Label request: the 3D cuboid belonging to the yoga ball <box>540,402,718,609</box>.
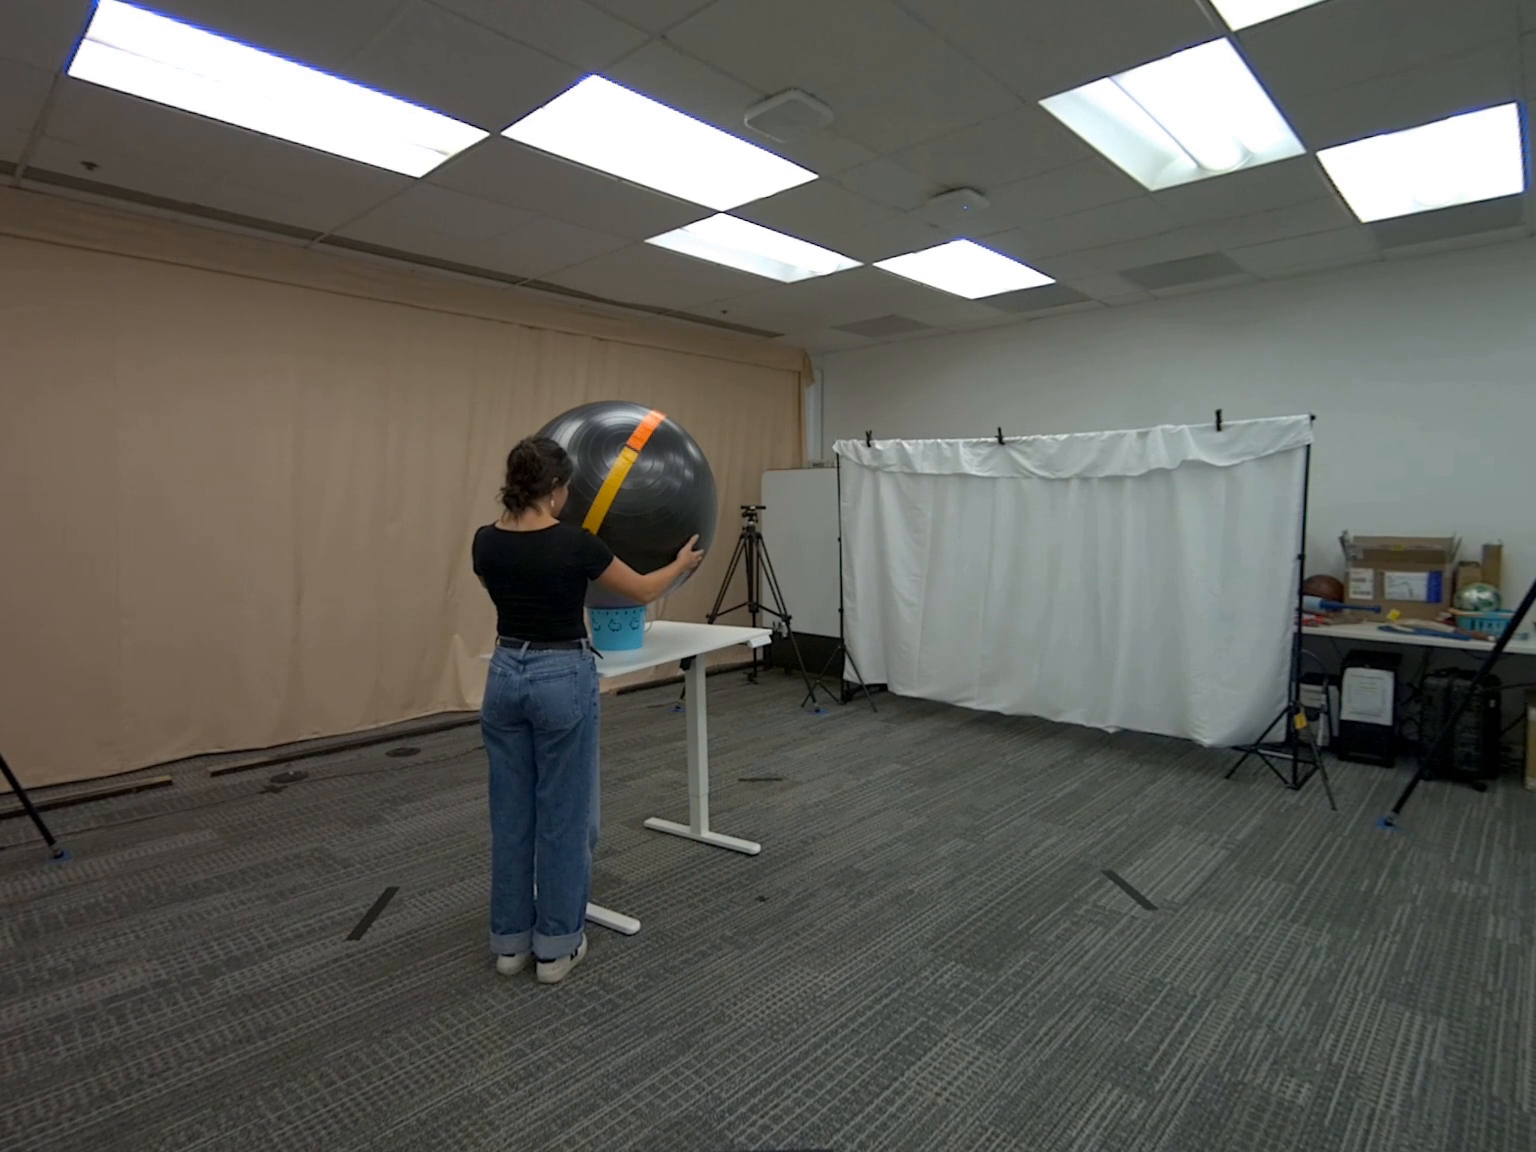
[{"bbox_3d":[-0.566,-0.249,3.064,0.757,0.756,0.760,0,4,-2],"label":"yoga ball"}]
